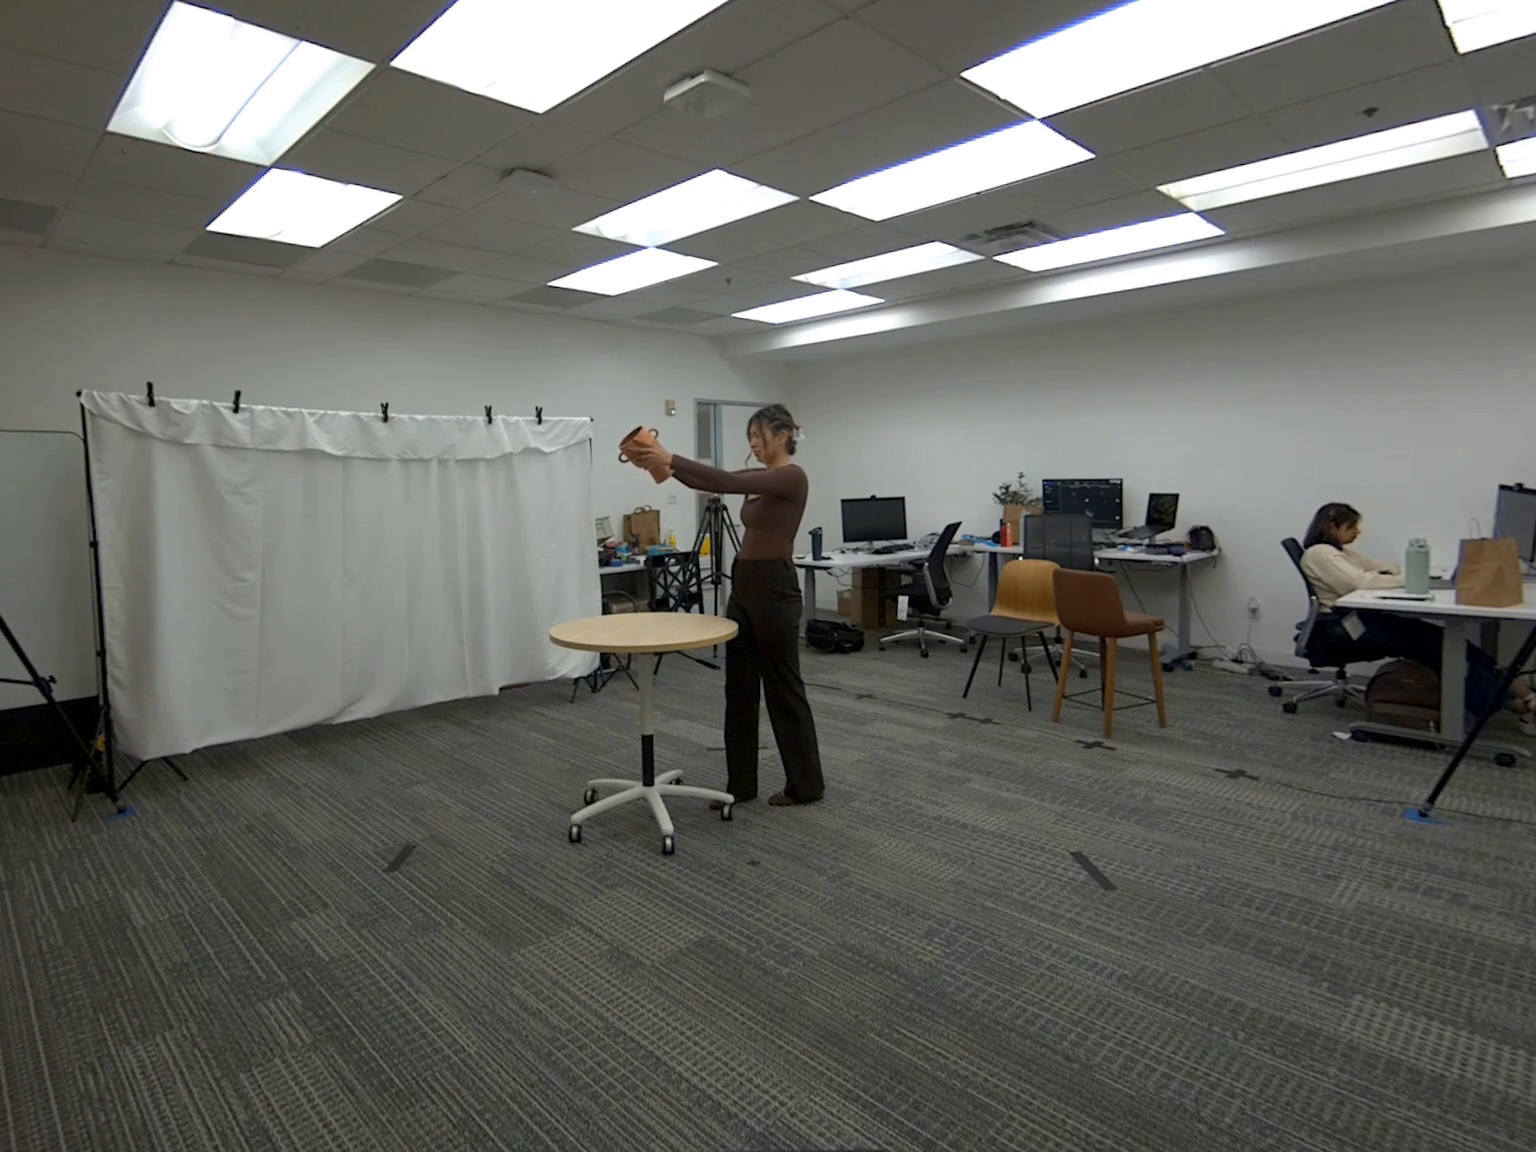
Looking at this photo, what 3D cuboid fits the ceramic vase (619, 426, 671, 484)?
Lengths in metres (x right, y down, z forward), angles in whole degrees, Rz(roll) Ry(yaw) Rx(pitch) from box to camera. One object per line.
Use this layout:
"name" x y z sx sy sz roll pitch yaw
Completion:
"ceramic vase" -0.486 -0.481 3.454 0.162 0.214 0.136 -18 32 43
